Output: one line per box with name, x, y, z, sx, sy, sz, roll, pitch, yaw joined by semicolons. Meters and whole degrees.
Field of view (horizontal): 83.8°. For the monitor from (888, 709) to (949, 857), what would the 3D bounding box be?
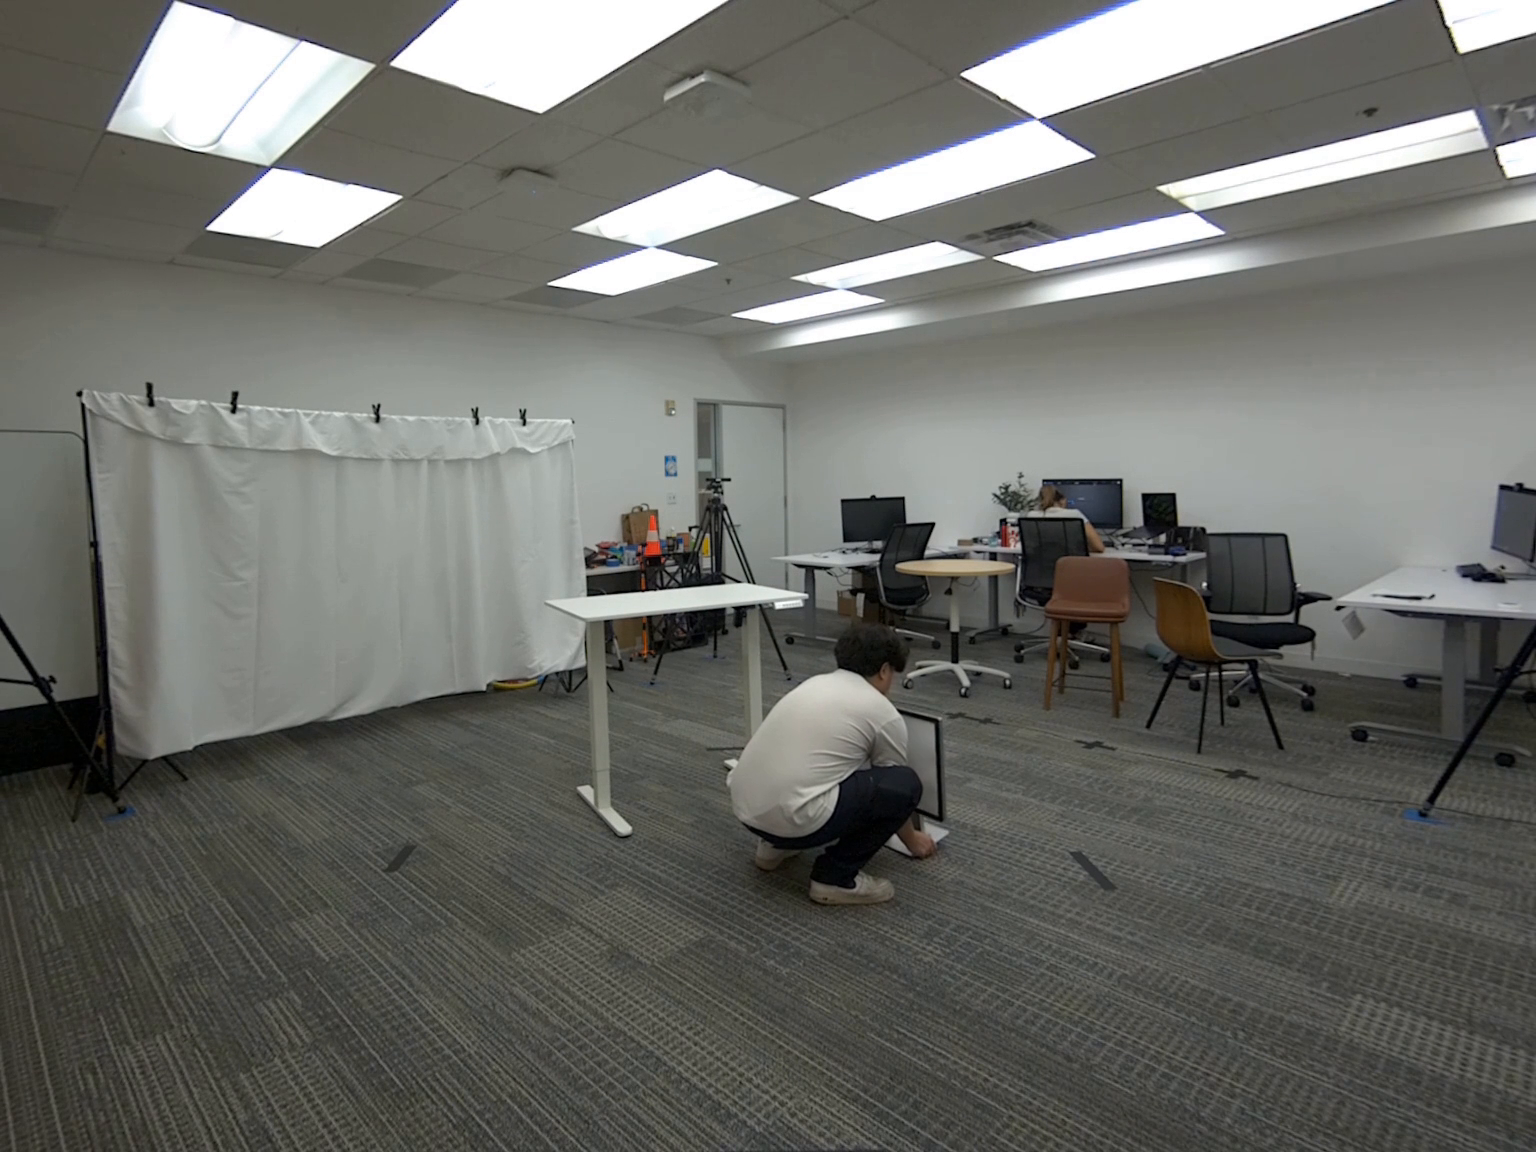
monitor;0.506;0.734;3.236;0.205;0.551;0.581;-11;7;-35
